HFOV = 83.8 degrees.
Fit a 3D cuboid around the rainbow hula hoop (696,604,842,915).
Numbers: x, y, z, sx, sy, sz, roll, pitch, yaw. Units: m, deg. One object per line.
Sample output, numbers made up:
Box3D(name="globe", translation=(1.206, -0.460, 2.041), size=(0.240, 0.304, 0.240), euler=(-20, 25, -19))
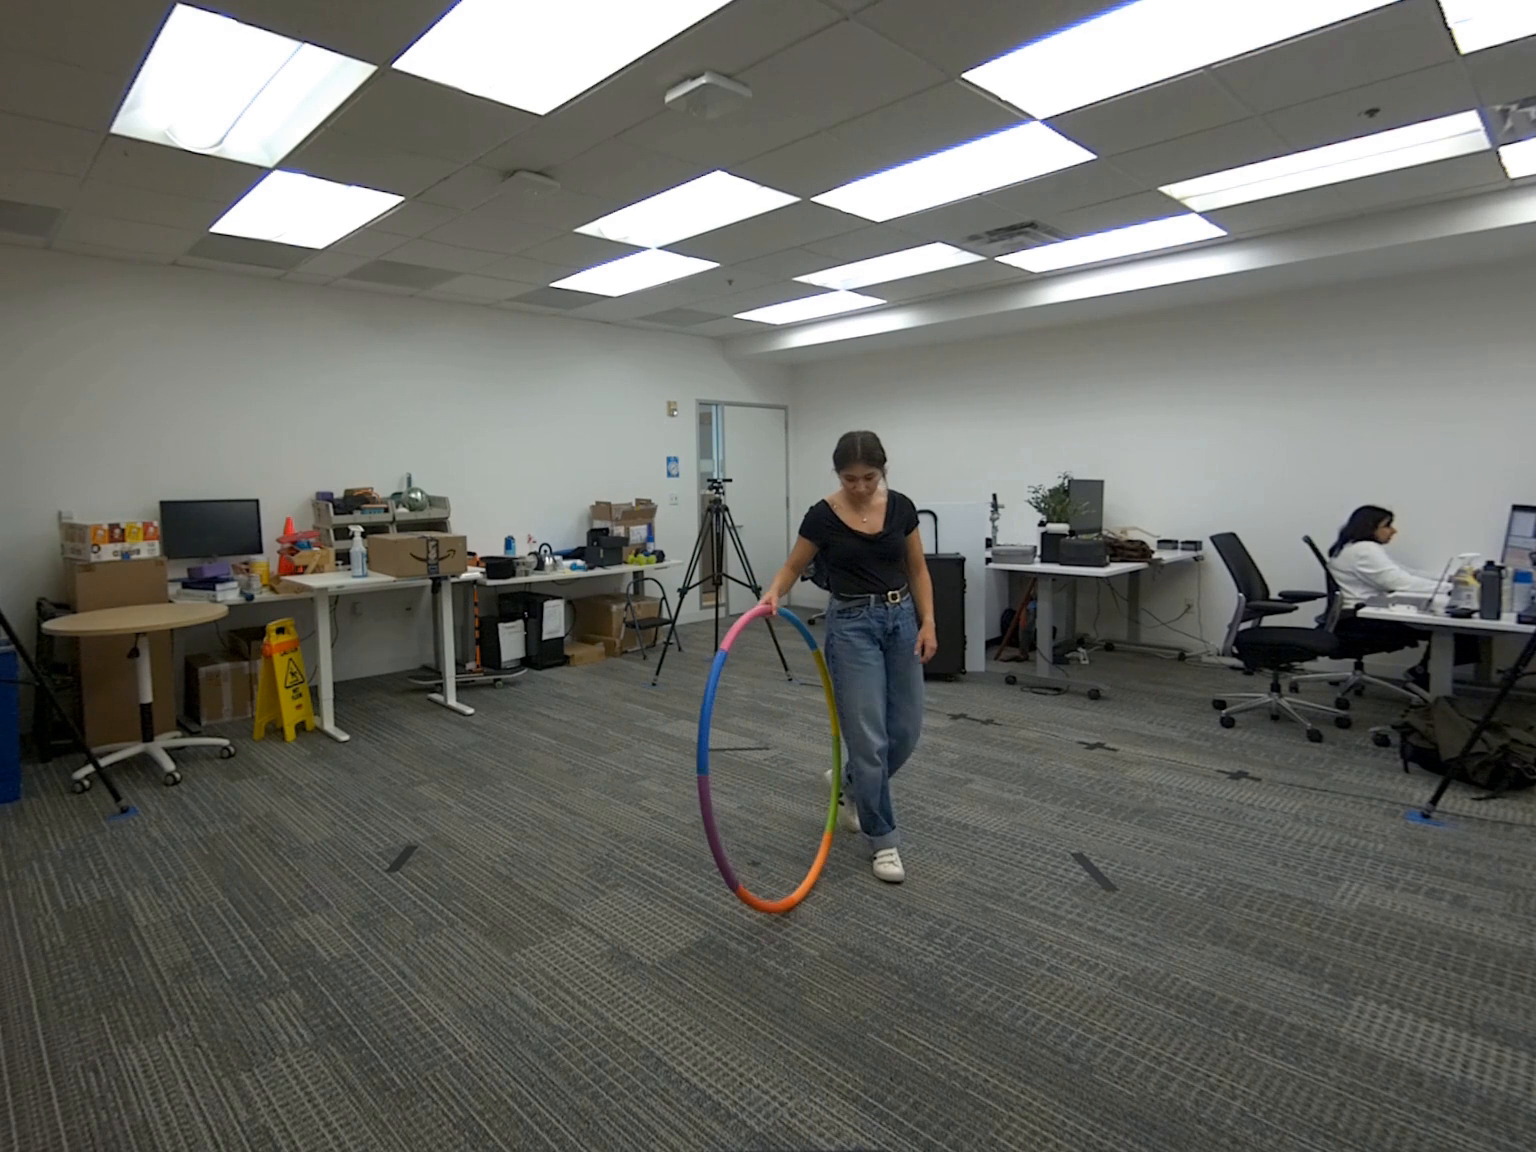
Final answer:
Box3D(name="rainbow hula hoop", translation=(0.027, 0.587, 2.849), size=(0.036, 0.979, 0.959), euler=(-10, 0, 26))
